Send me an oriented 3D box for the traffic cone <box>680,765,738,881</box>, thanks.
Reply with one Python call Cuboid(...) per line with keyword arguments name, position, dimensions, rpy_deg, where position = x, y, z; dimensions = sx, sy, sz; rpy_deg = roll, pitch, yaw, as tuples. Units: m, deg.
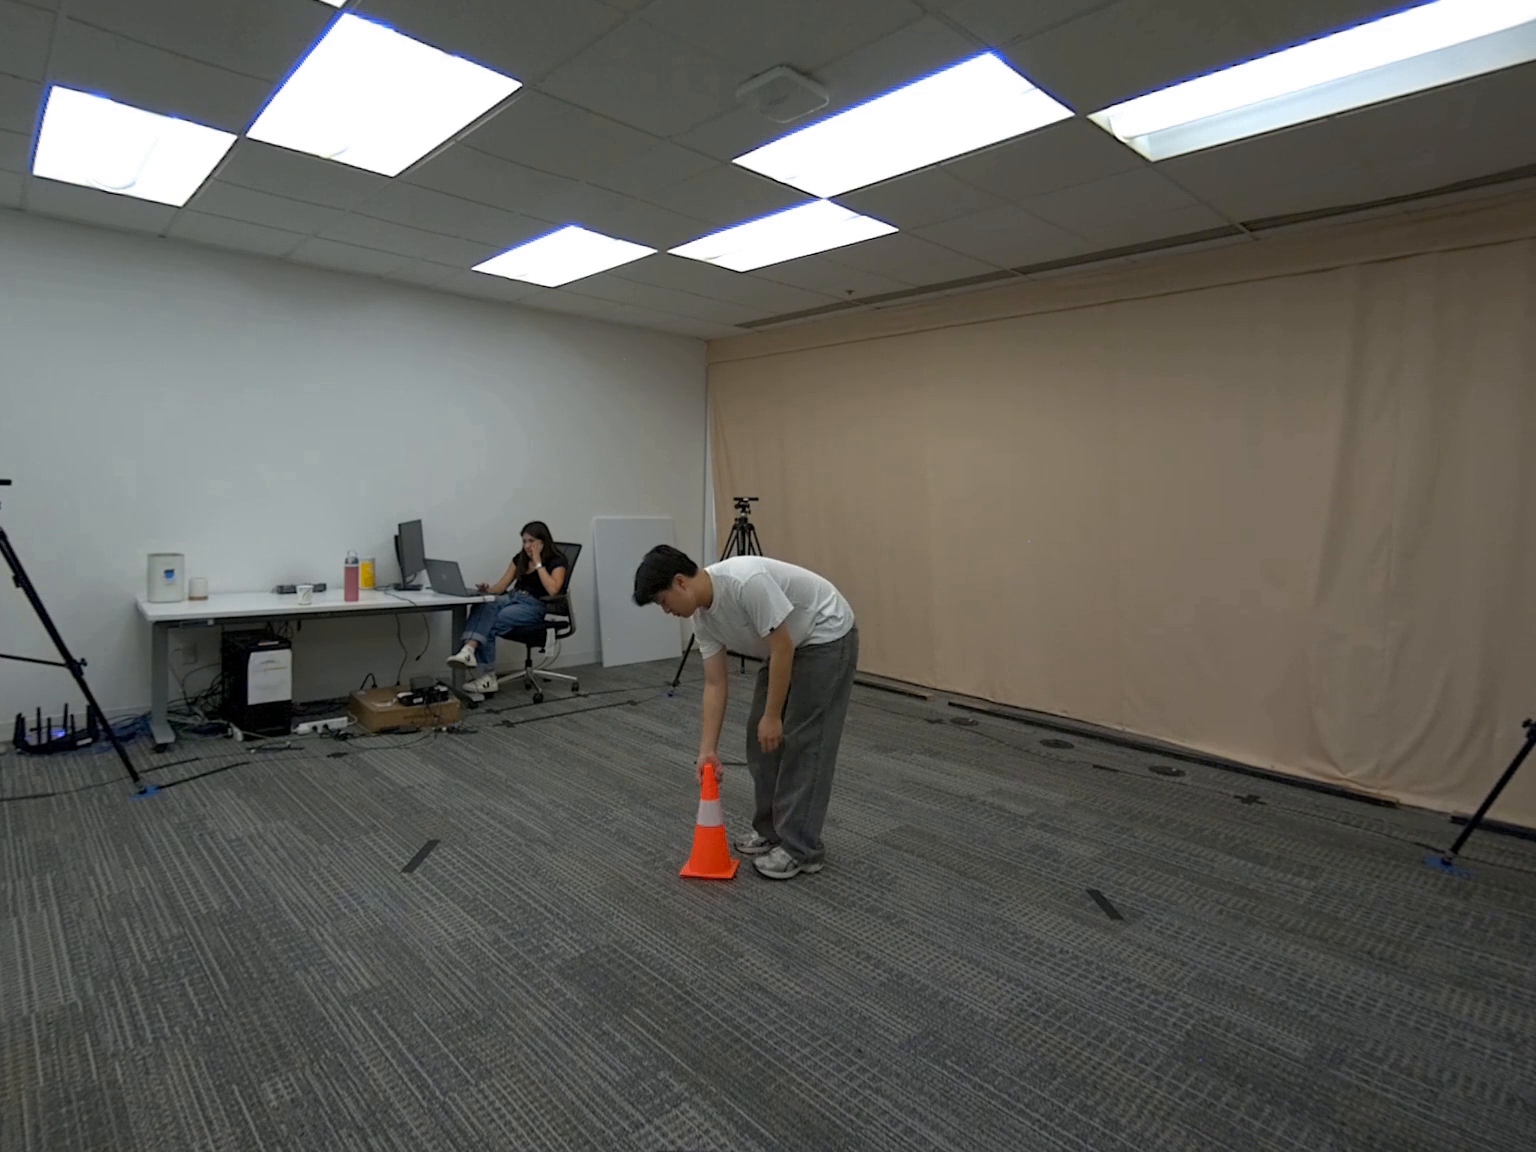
Cuboid(name="traffic cone", position=(-0.224, 0.889, 3.151), dimensions=(0.206, 0.384, 0.201), rpy_deg=(0, -2, 9))
